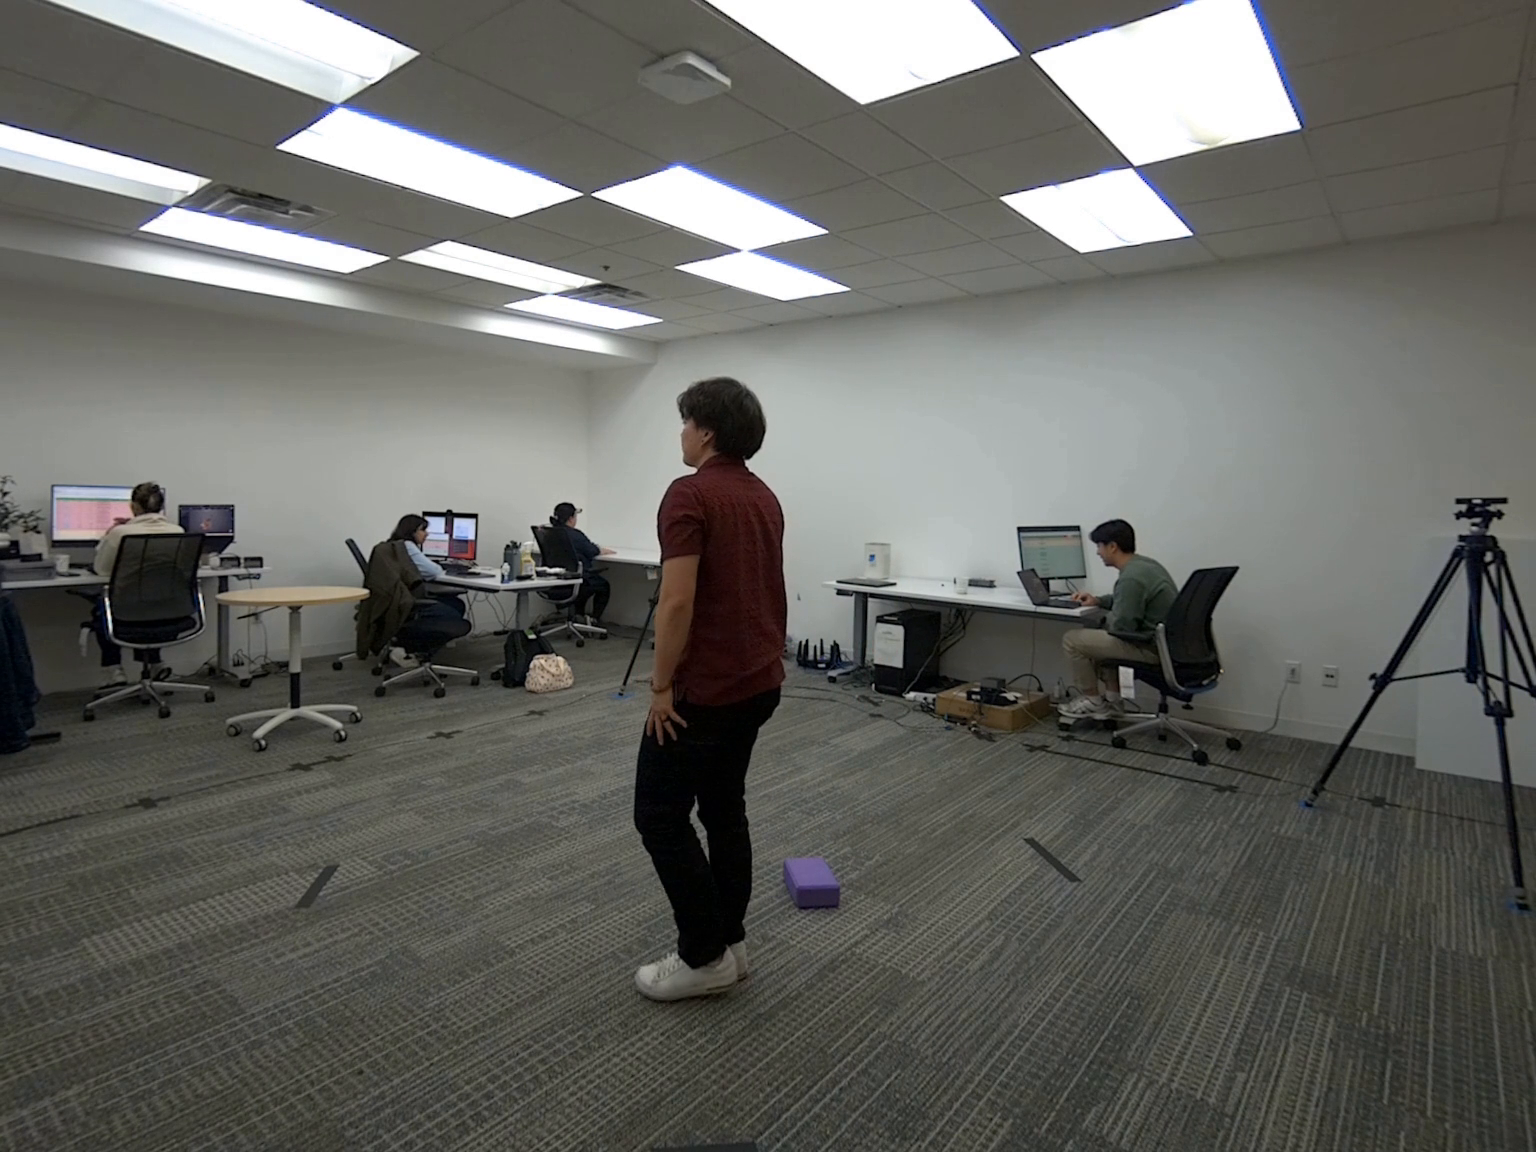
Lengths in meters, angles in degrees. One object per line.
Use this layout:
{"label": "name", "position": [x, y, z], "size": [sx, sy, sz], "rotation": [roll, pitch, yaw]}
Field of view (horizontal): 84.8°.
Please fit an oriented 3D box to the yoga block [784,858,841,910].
{"label": "yoga block", "position": [0.141, 1.051, 2.940], "size": [0.148, 0.076, 0.232], "rotation": [-1, 6, -9]}
